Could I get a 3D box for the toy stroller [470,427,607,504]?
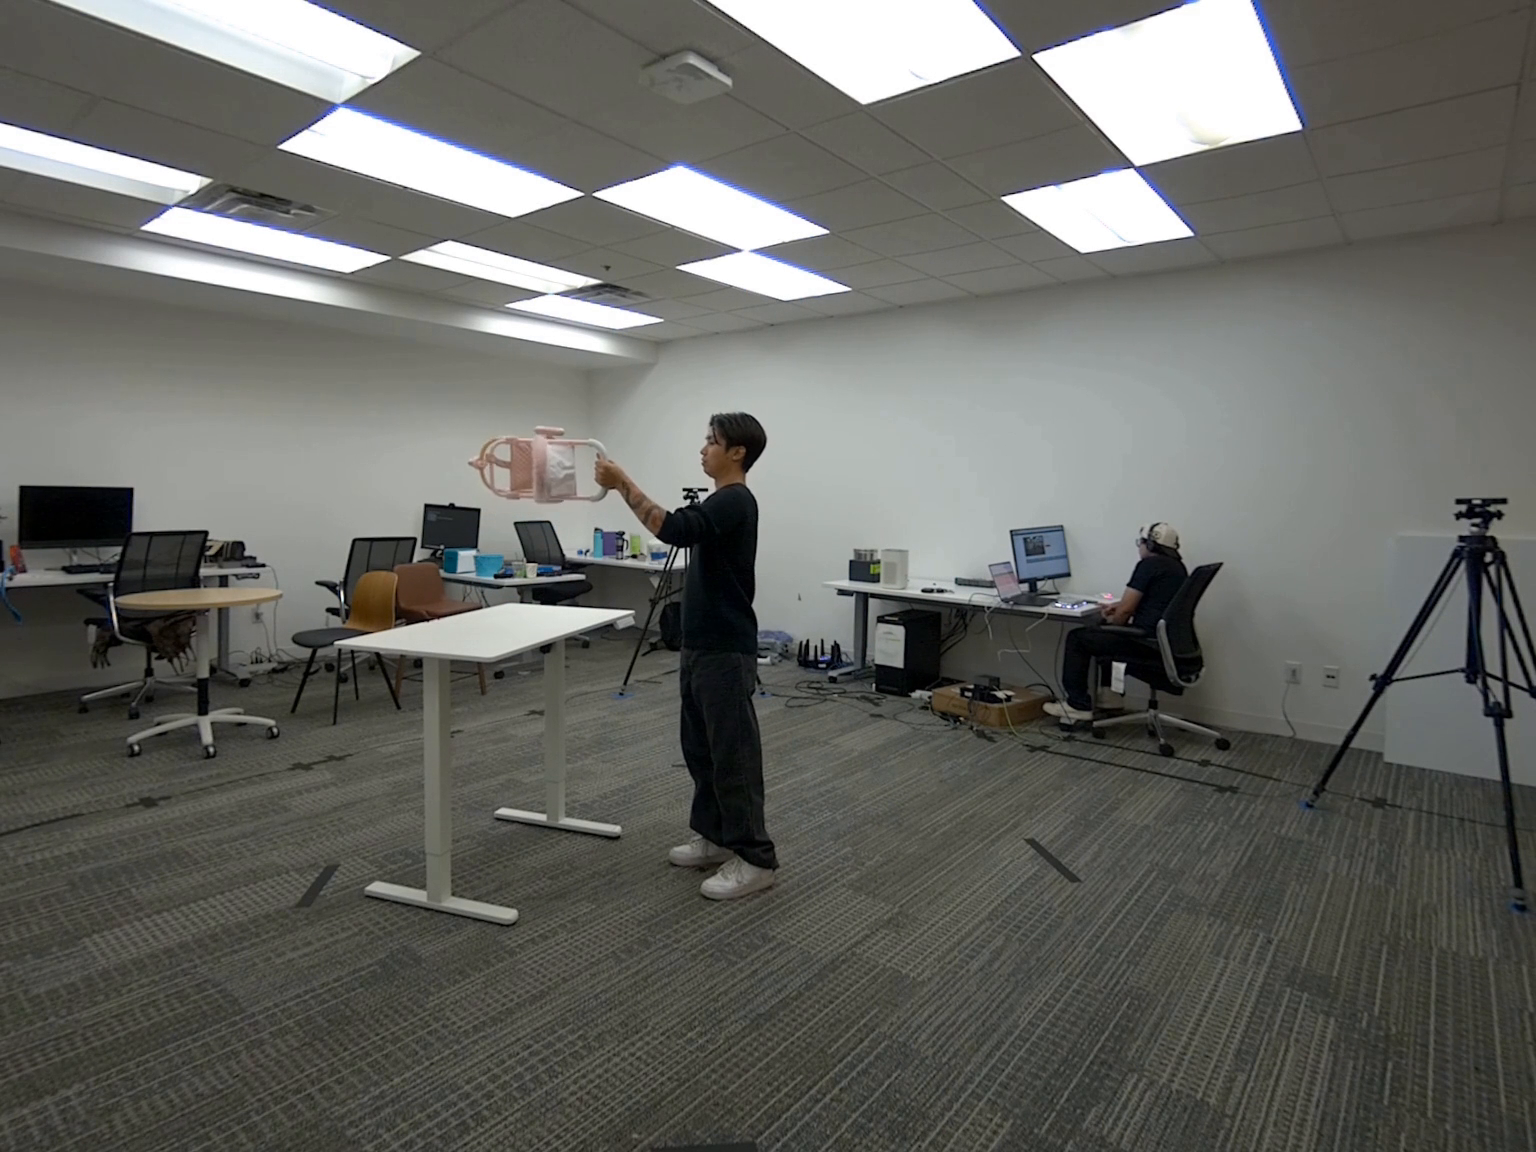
[{"bbox_3d":[-0.821,-0.374,2.939,0.332,0.279,0.554,0,10,-32],"label":"toy stroller"}]
